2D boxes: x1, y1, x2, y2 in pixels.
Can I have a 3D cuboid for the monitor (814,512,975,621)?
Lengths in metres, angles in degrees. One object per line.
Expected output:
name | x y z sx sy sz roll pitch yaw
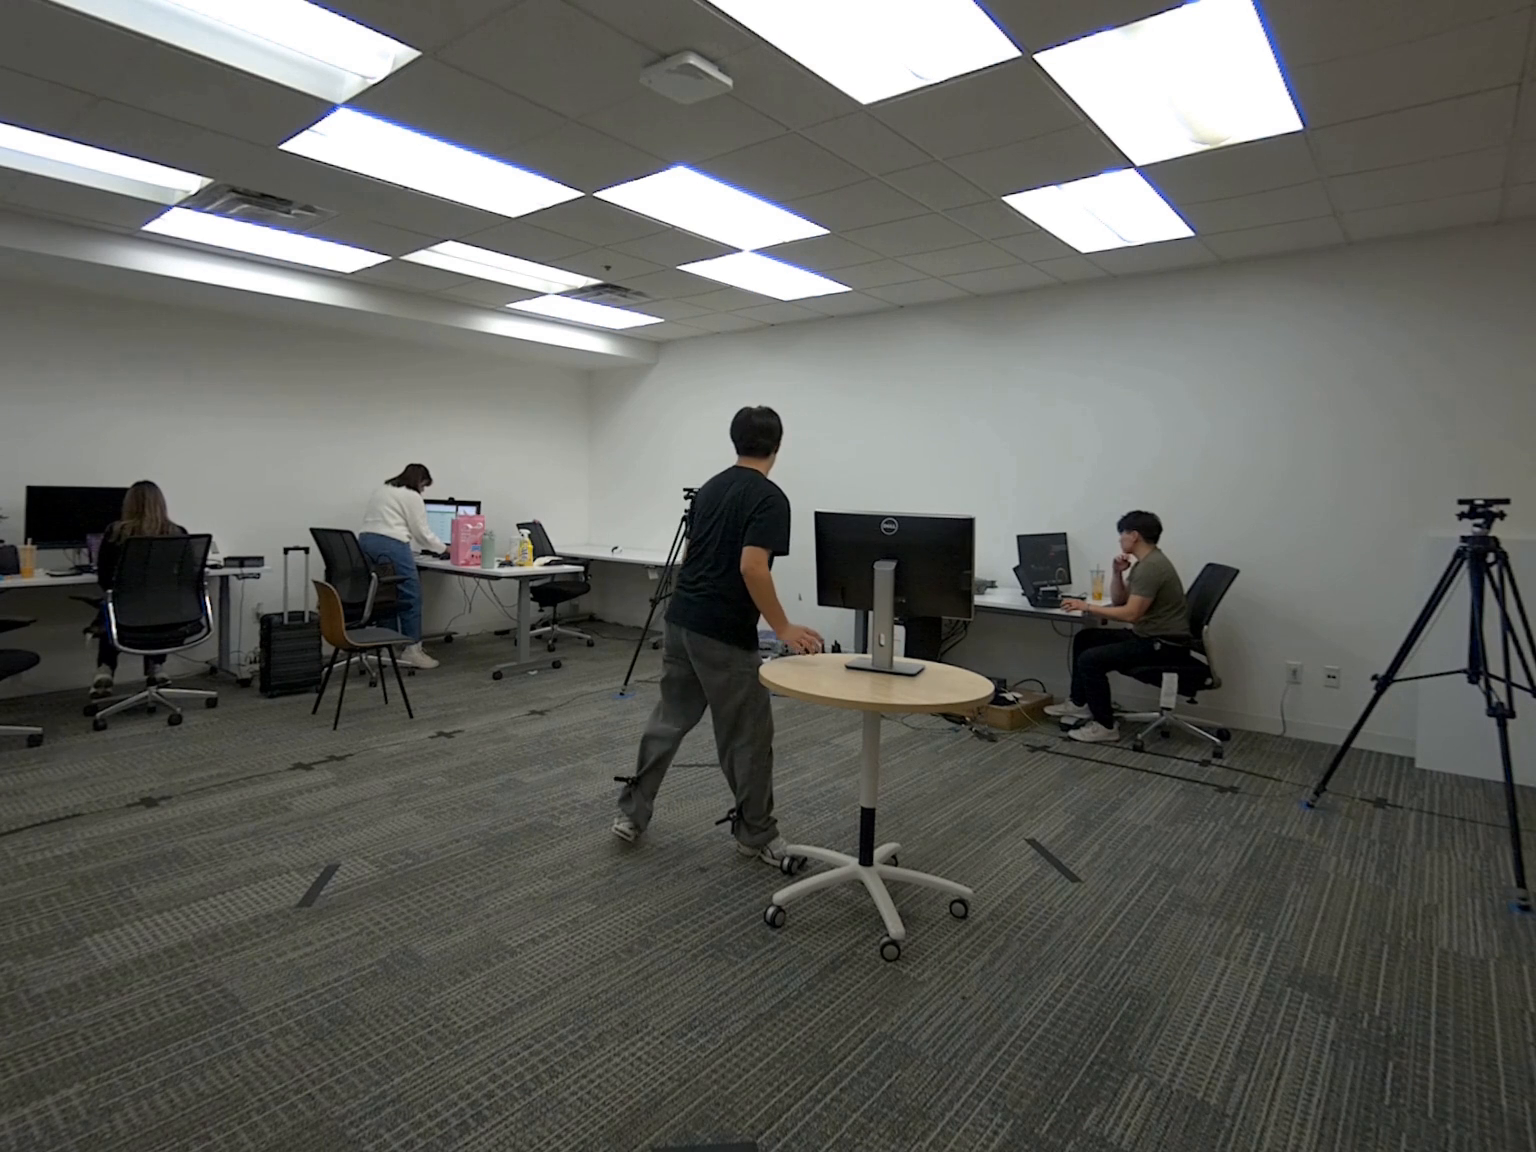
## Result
monitor | 0.415 0.059 2.958 0.577 0.565 0.216 4 1 26
